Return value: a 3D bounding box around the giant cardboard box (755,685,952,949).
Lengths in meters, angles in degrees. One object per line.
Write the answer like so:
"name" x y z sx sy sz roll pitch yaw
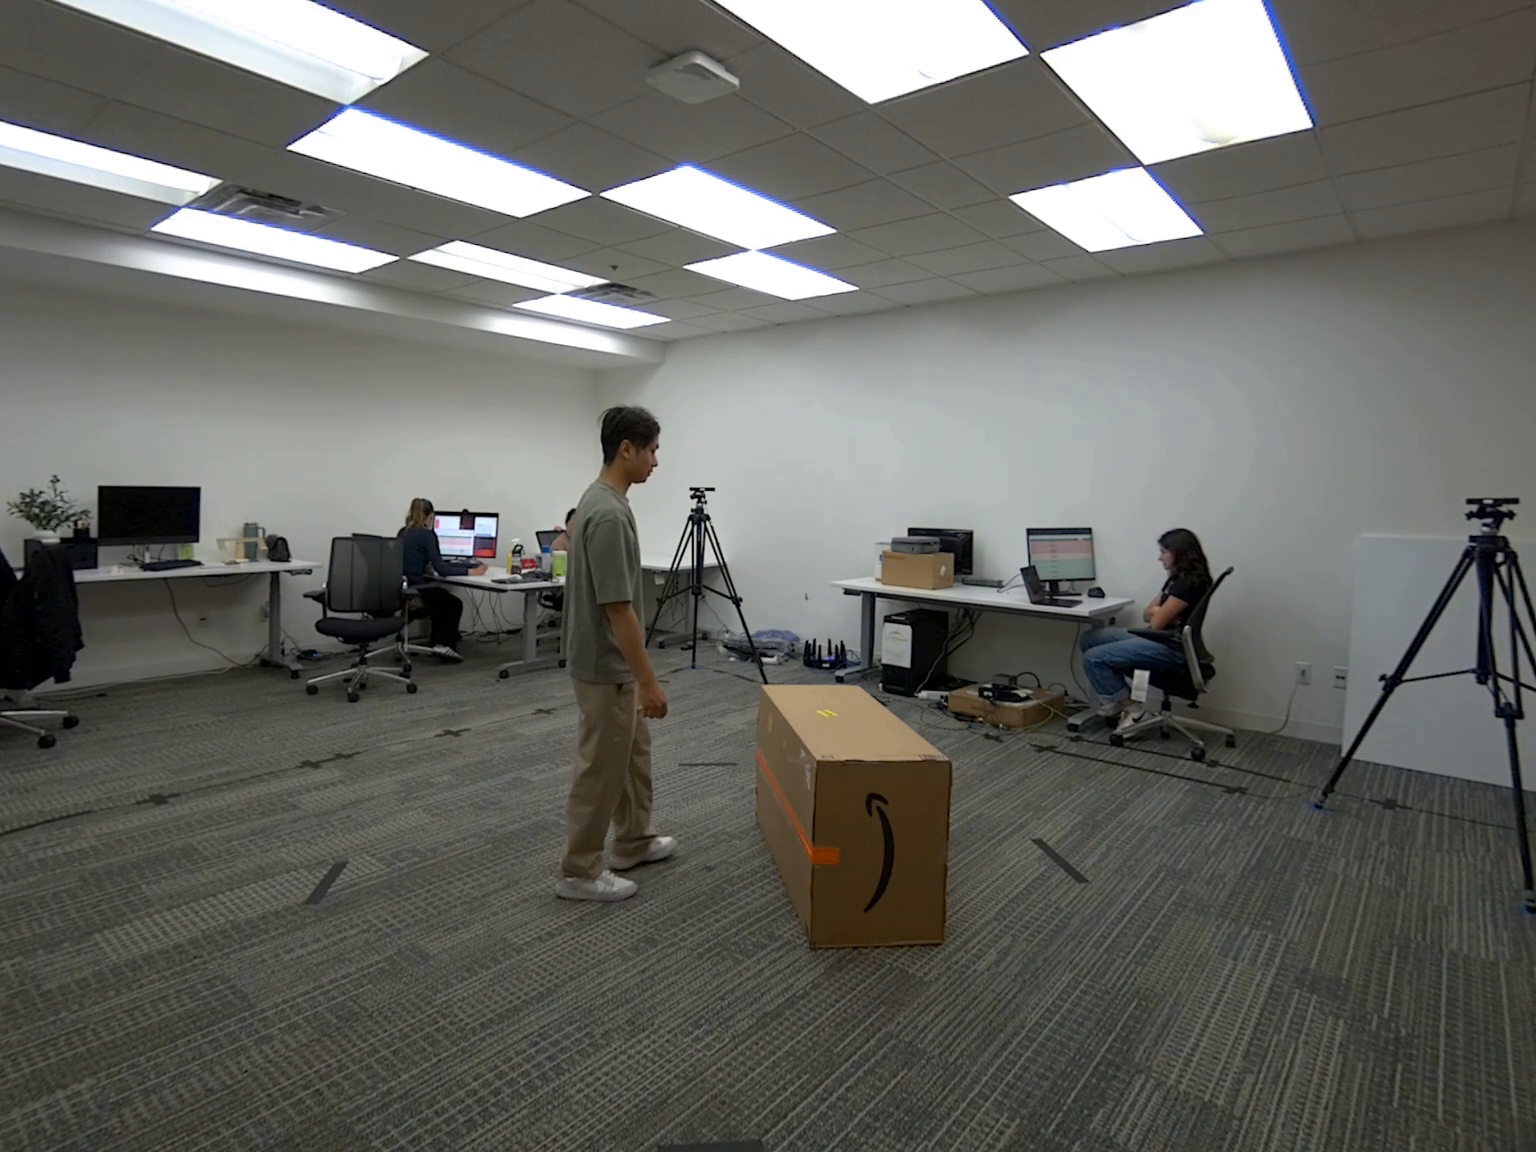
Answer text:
"giant cardboard box" 0.245 0.787 3.084 0.422 0.576 1.039 1 5 -10
